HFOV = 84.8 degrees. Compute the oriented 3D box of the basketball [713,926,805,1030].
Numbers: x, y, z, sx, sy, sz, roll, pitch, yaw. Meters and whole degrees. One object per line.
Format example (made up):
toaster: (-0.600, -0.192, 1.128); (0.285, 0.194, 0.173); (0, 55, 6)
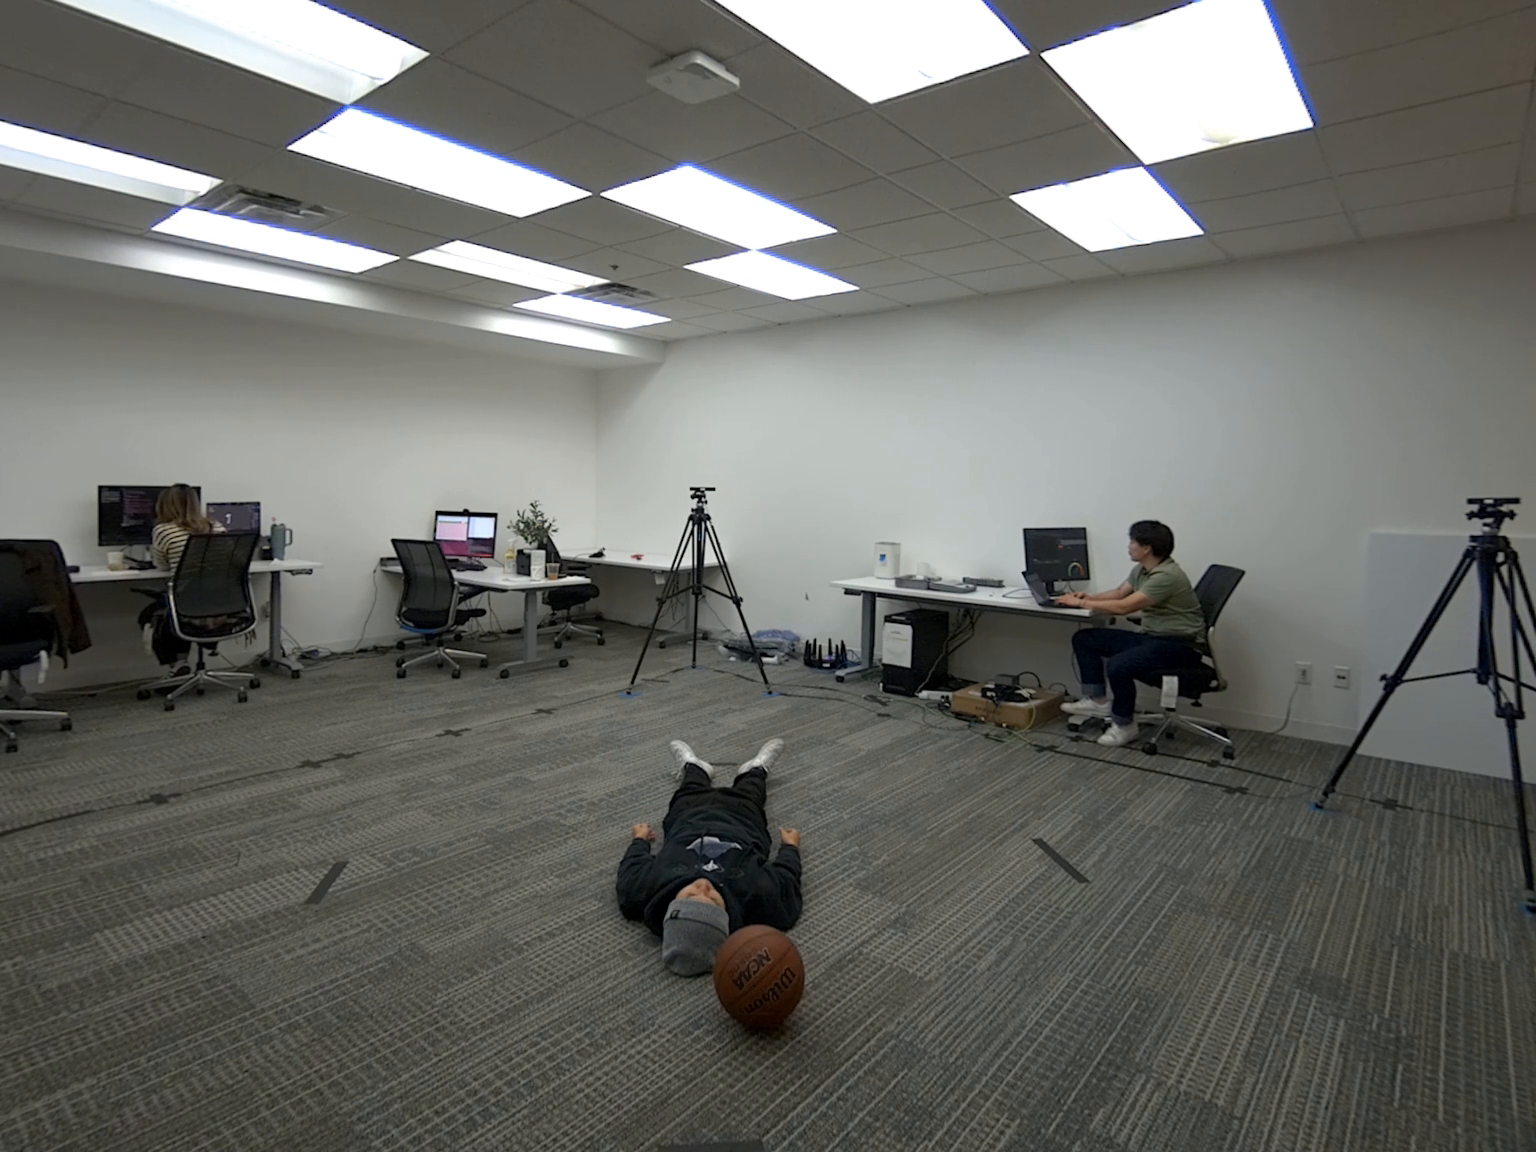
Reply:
basketball: (-0.028, 1.039, 2.224); (0.235, 0.235, 0.237); (1, 4, -2)
